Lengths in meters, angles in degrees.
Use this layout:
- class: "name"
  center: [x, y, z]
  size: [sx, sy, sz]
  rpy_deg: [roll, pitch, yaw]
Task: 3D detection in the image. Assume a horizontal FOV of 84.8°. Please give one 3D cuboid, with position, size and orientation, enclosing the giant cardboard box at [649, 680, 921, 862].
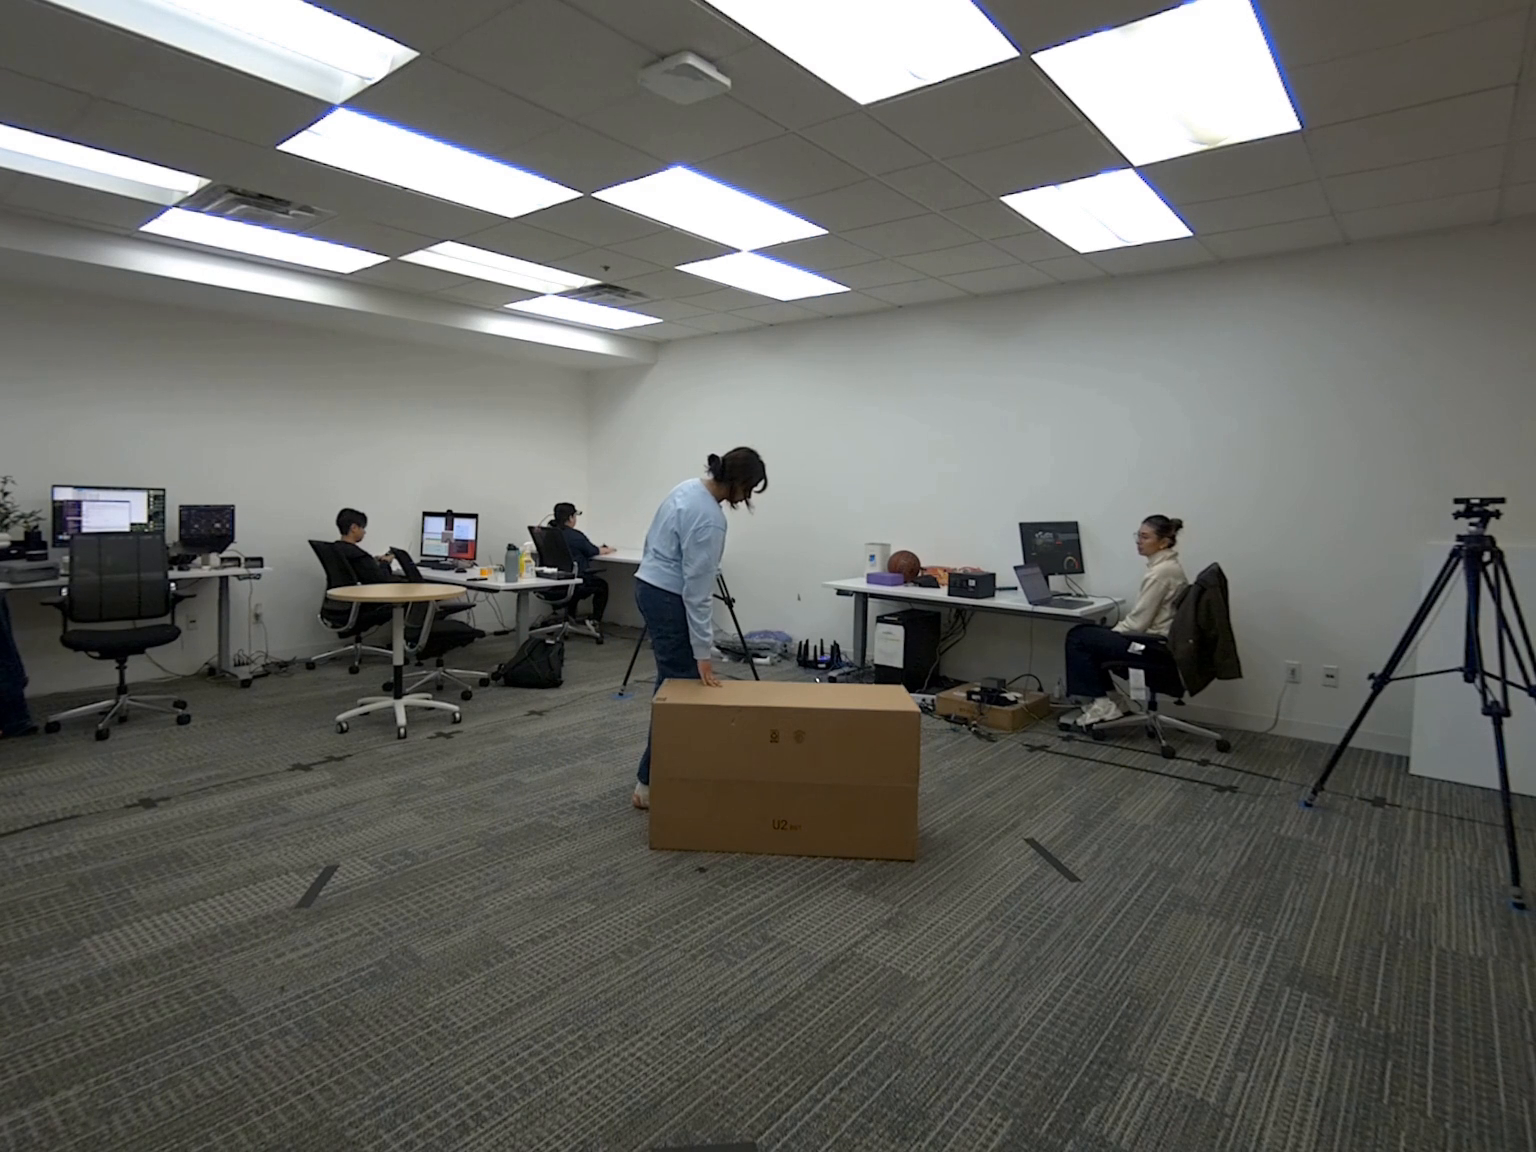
- class: "giant cardboard box"
  center: [0.055, 0.754, 3.434]
  size: [1.030, 0.576, 0.426]
  rpy_deg: [1, 3, 3]
